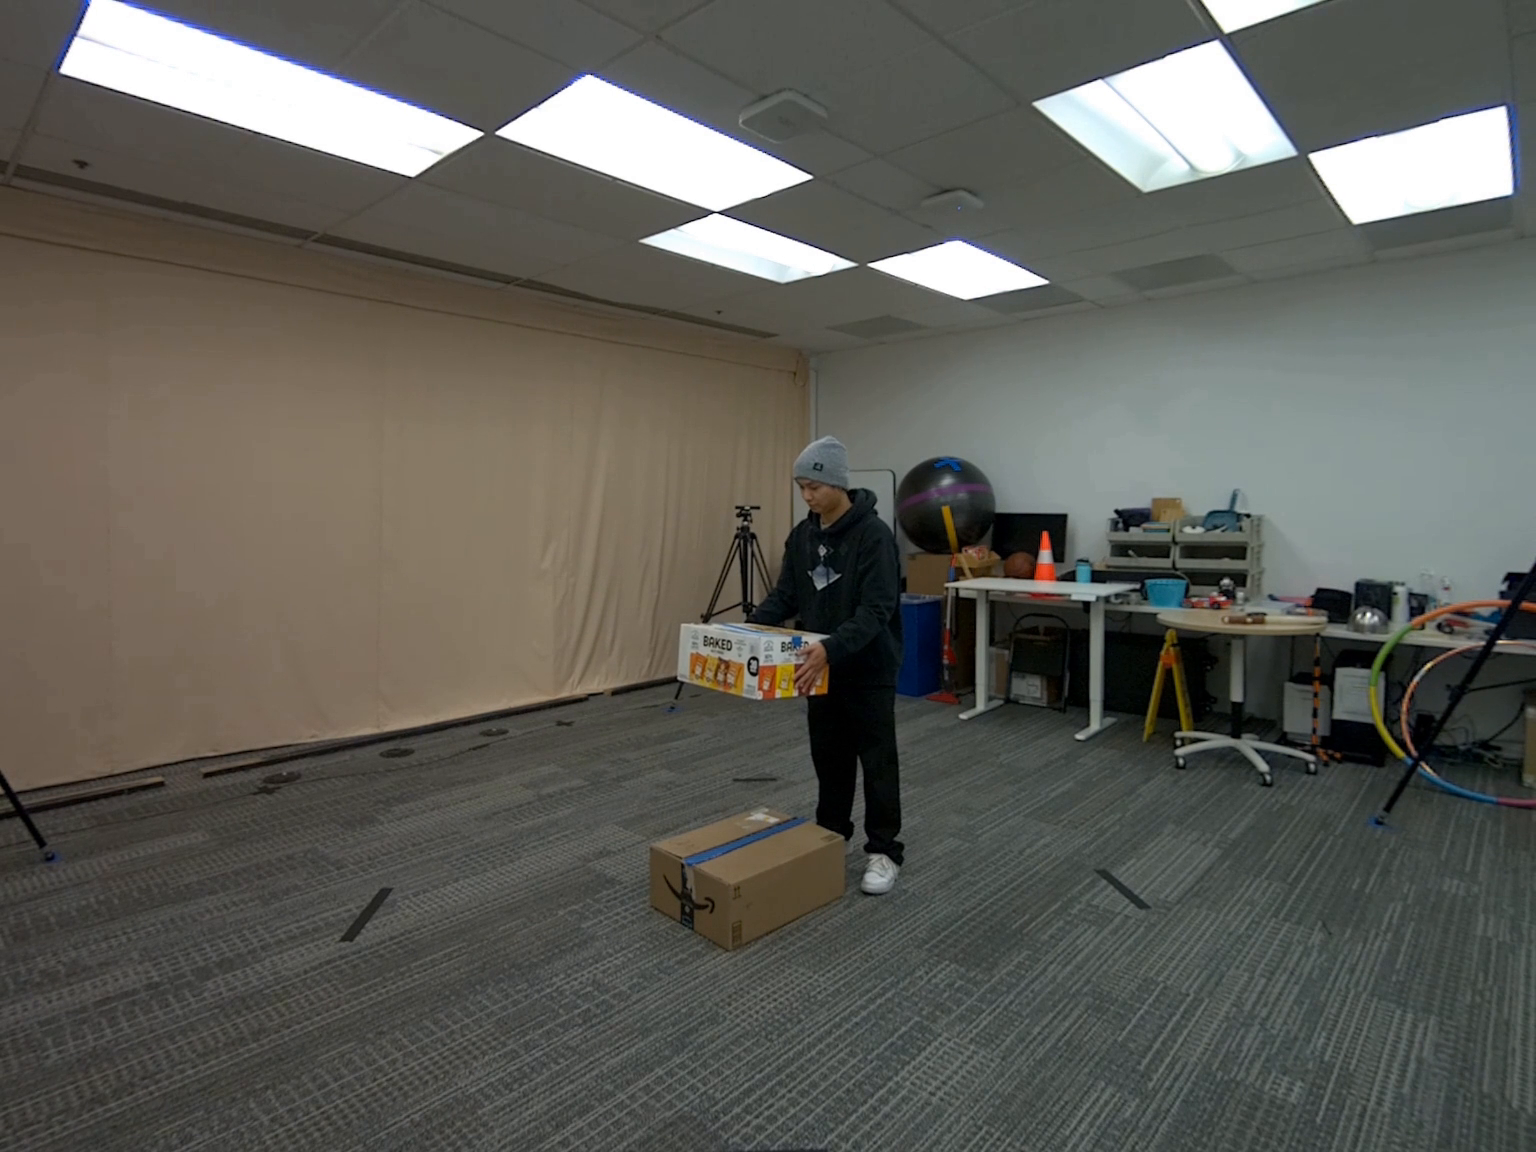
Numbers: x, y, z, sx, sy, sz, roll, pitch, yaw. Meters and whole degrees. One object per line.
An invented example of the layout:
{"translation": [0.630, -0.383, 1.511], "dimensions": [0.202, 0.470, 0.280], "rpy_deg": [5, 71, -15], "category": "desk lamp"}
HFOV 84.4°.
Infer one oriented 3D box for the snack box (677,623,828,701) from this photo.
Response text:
{"translation": [-0.052, 0.288, 2.943], "dimensions": [0.329, 0.206, 0.419], "rpy_deg": [4, 1, -43], "category": "snack box"}
